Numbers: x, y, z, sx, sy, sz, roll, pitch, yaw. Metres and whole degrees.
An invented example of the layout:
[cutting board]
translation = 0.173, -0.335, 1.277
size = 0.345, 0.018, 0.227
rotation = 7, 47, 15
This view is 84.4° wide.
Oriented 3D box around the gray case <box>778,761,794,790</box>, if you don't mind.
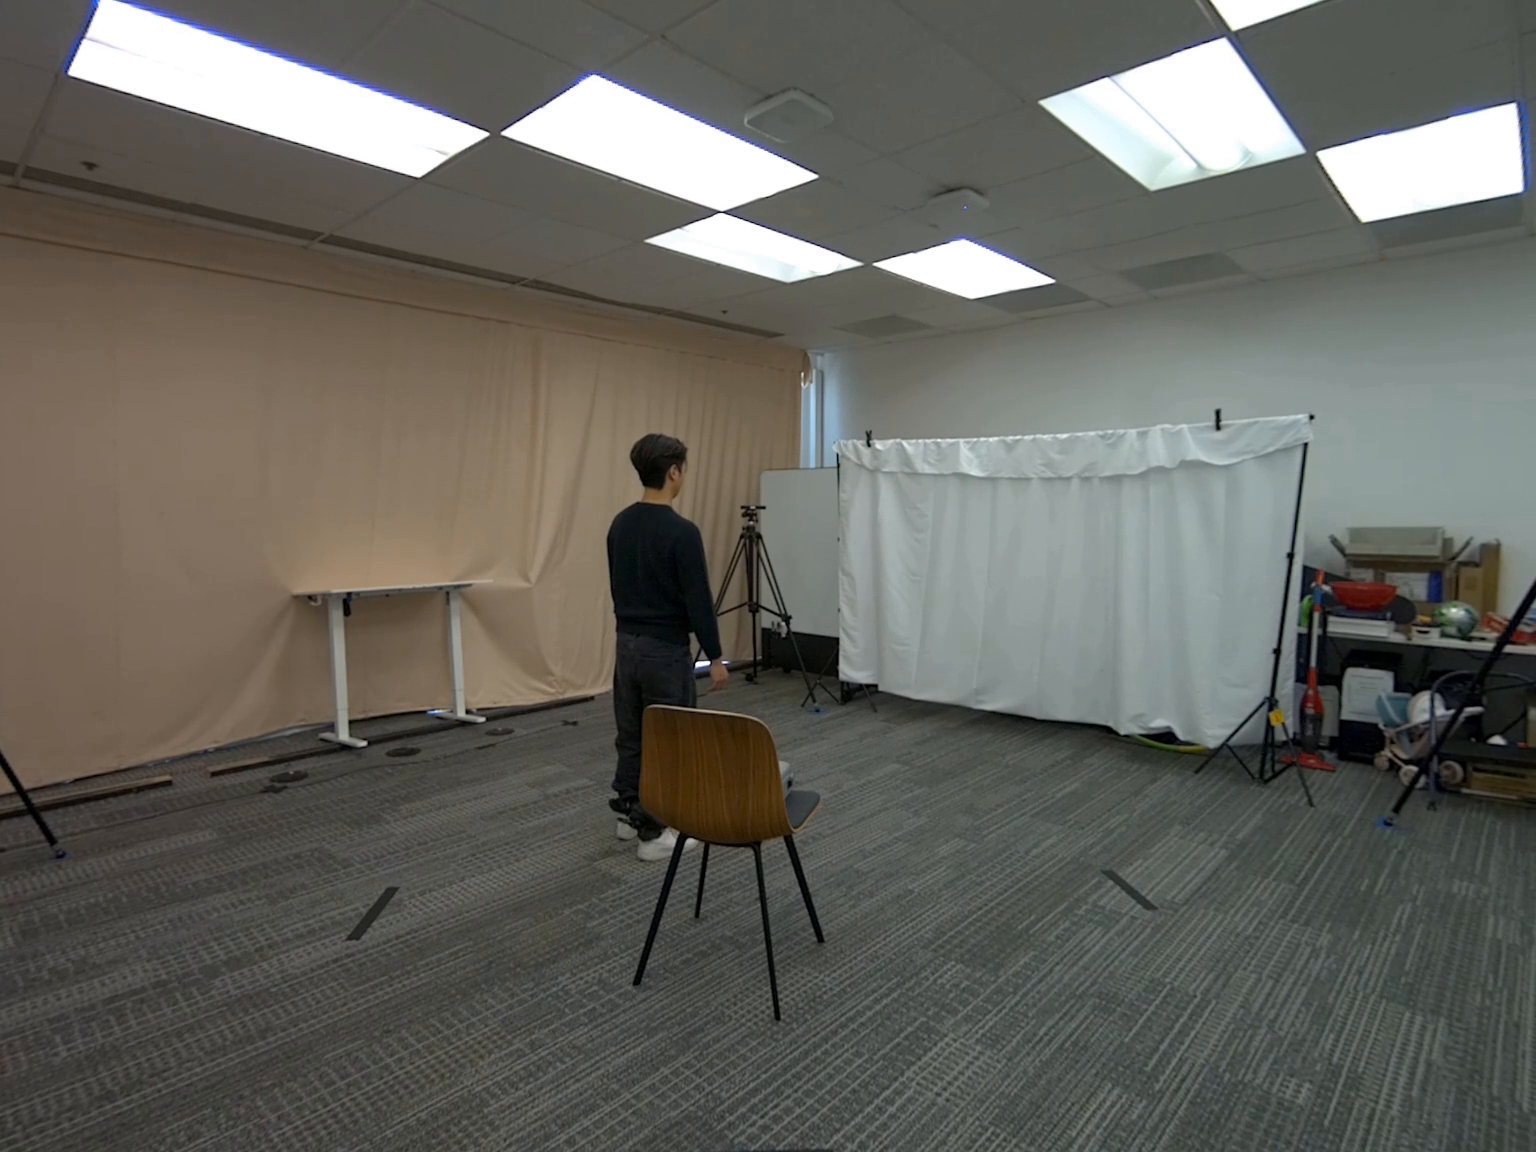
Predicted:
[gray case]
translation = -0.073, 0.642, 2.586
size = 0.266, 0.104, 0.252
rotation = 0, 8, 21
